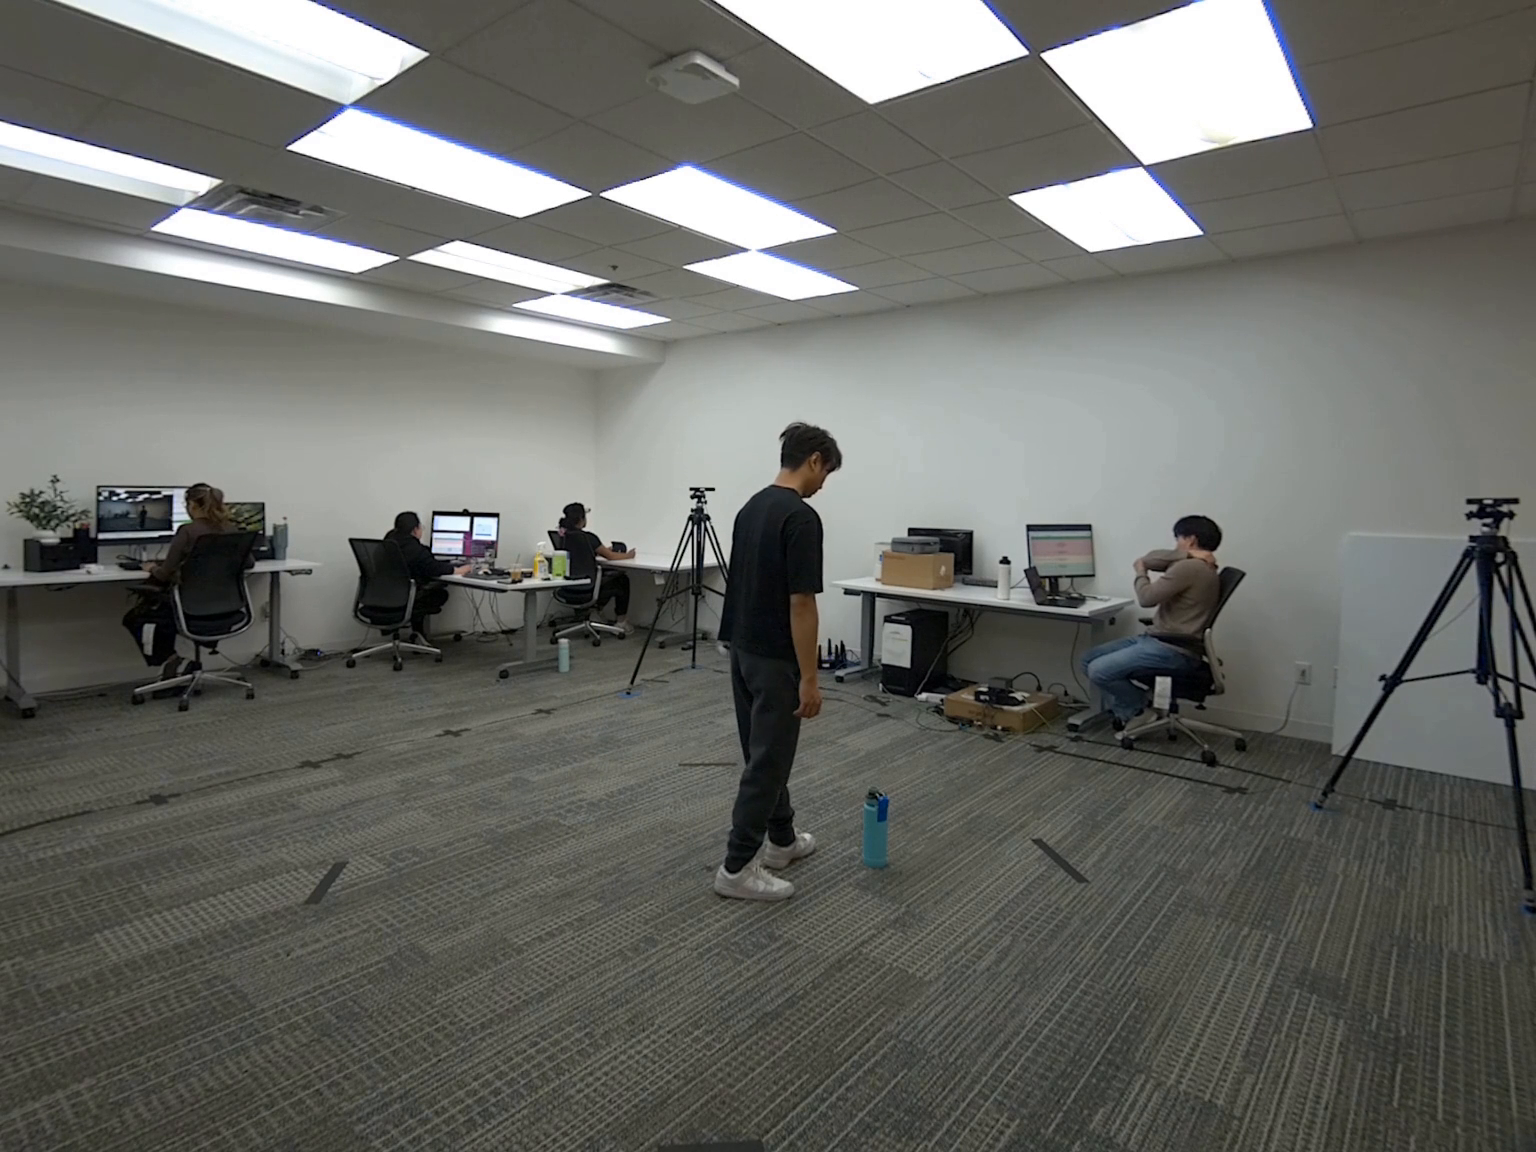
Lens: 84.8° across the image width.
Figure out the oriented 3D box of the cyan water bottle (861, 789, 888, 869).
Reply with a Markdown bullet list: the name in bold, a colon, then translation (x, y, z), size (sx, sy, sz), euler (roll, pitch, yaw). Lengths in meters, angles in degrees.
- **cyan water bottle**: translation (0.398, 0.936, 3.176), size (0.092, 0.282, 0.093), euler (1, 4, -2)
